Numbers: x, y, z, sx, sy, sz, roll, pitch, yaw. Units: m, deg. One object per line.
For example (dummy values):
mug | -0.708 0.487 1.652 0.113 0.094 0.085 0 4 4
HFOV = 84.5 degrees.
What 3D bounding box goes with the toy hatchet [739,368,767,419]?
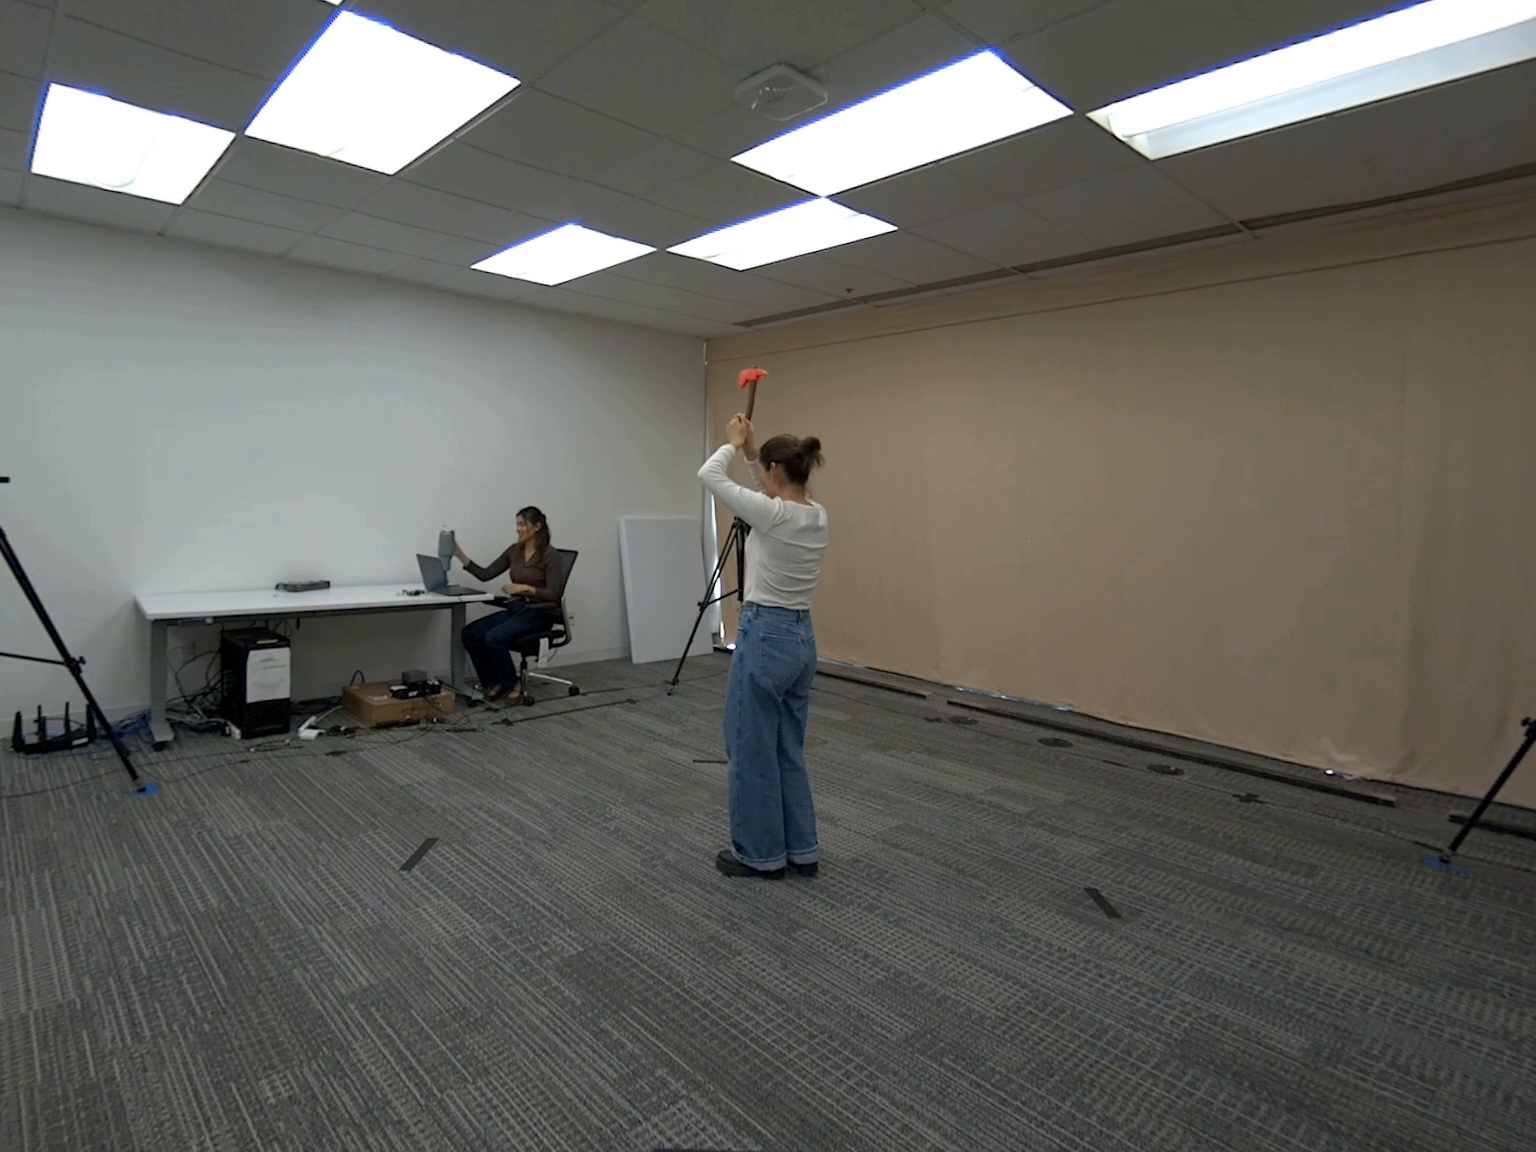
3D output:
toy hatchet | -0.098 -0.654 3.137 0.135 0.269 0.029 29 15 32
